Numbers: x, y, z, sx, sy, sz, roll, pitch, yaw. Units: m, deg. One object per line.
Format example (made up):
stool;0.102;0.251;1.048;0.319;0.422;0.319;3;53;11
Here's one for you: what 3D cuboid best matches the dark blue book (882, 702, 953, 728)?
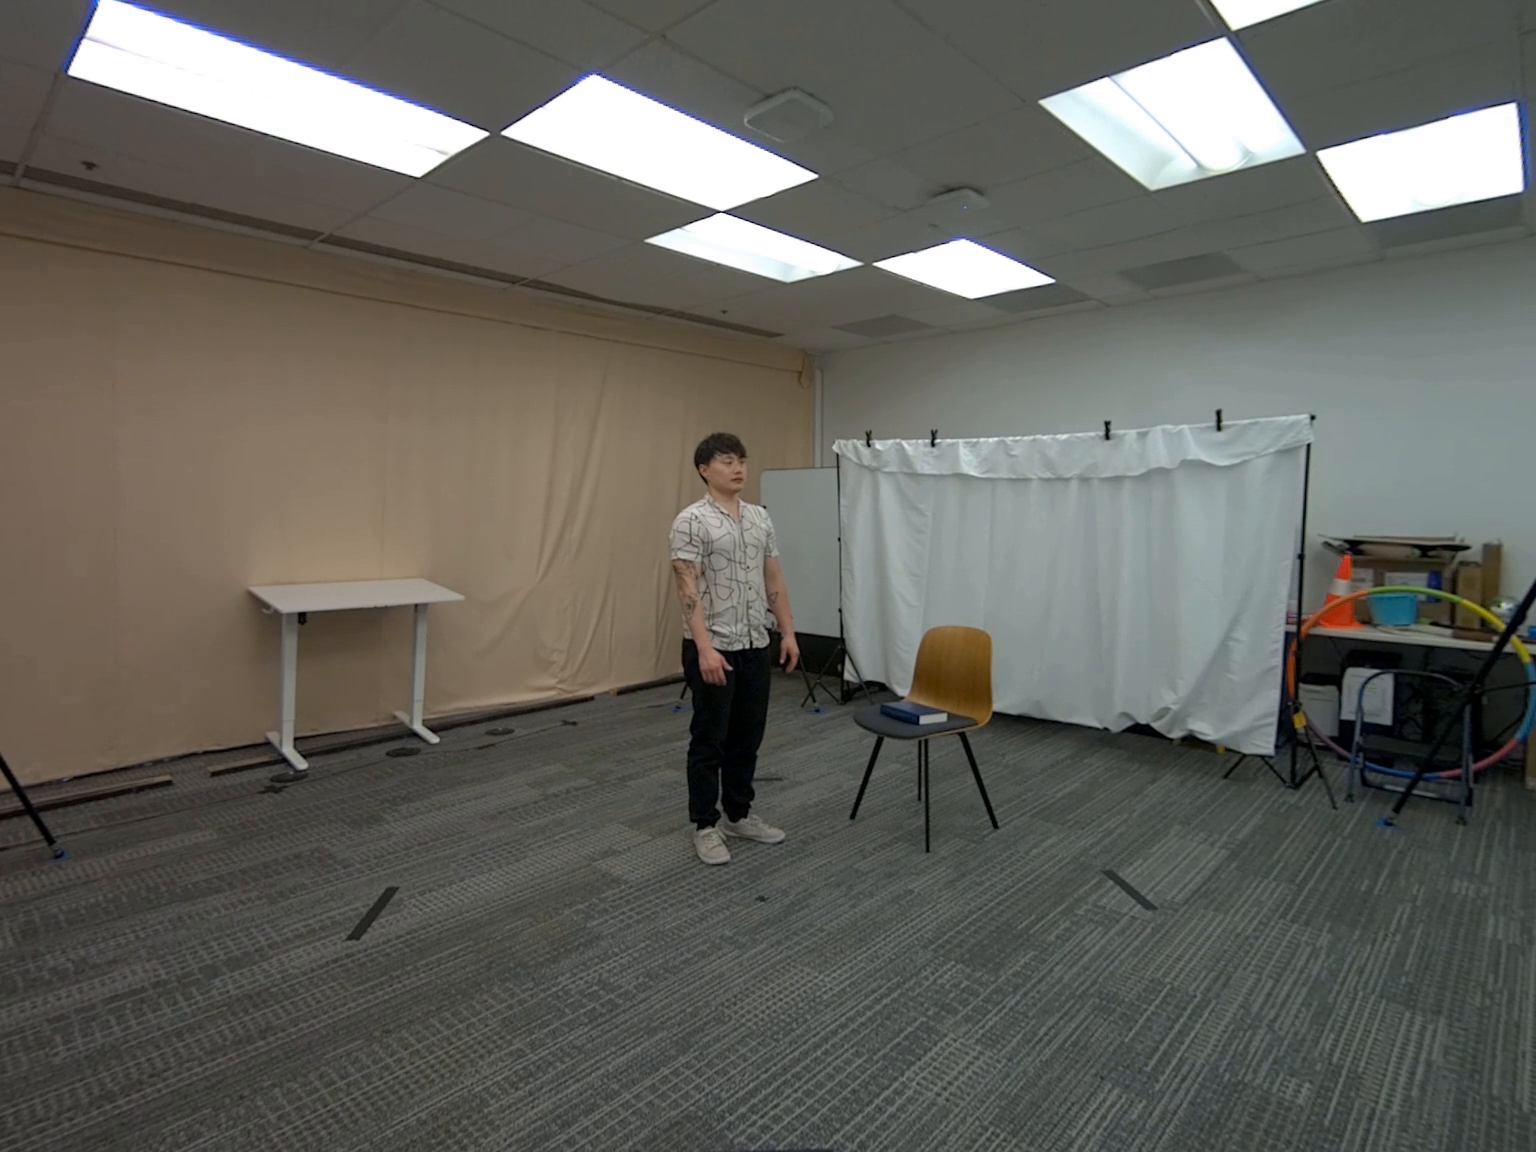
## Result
dark blue book;0.631;0.587;3.603;0.159;0.045;0.252;0;3;-32
